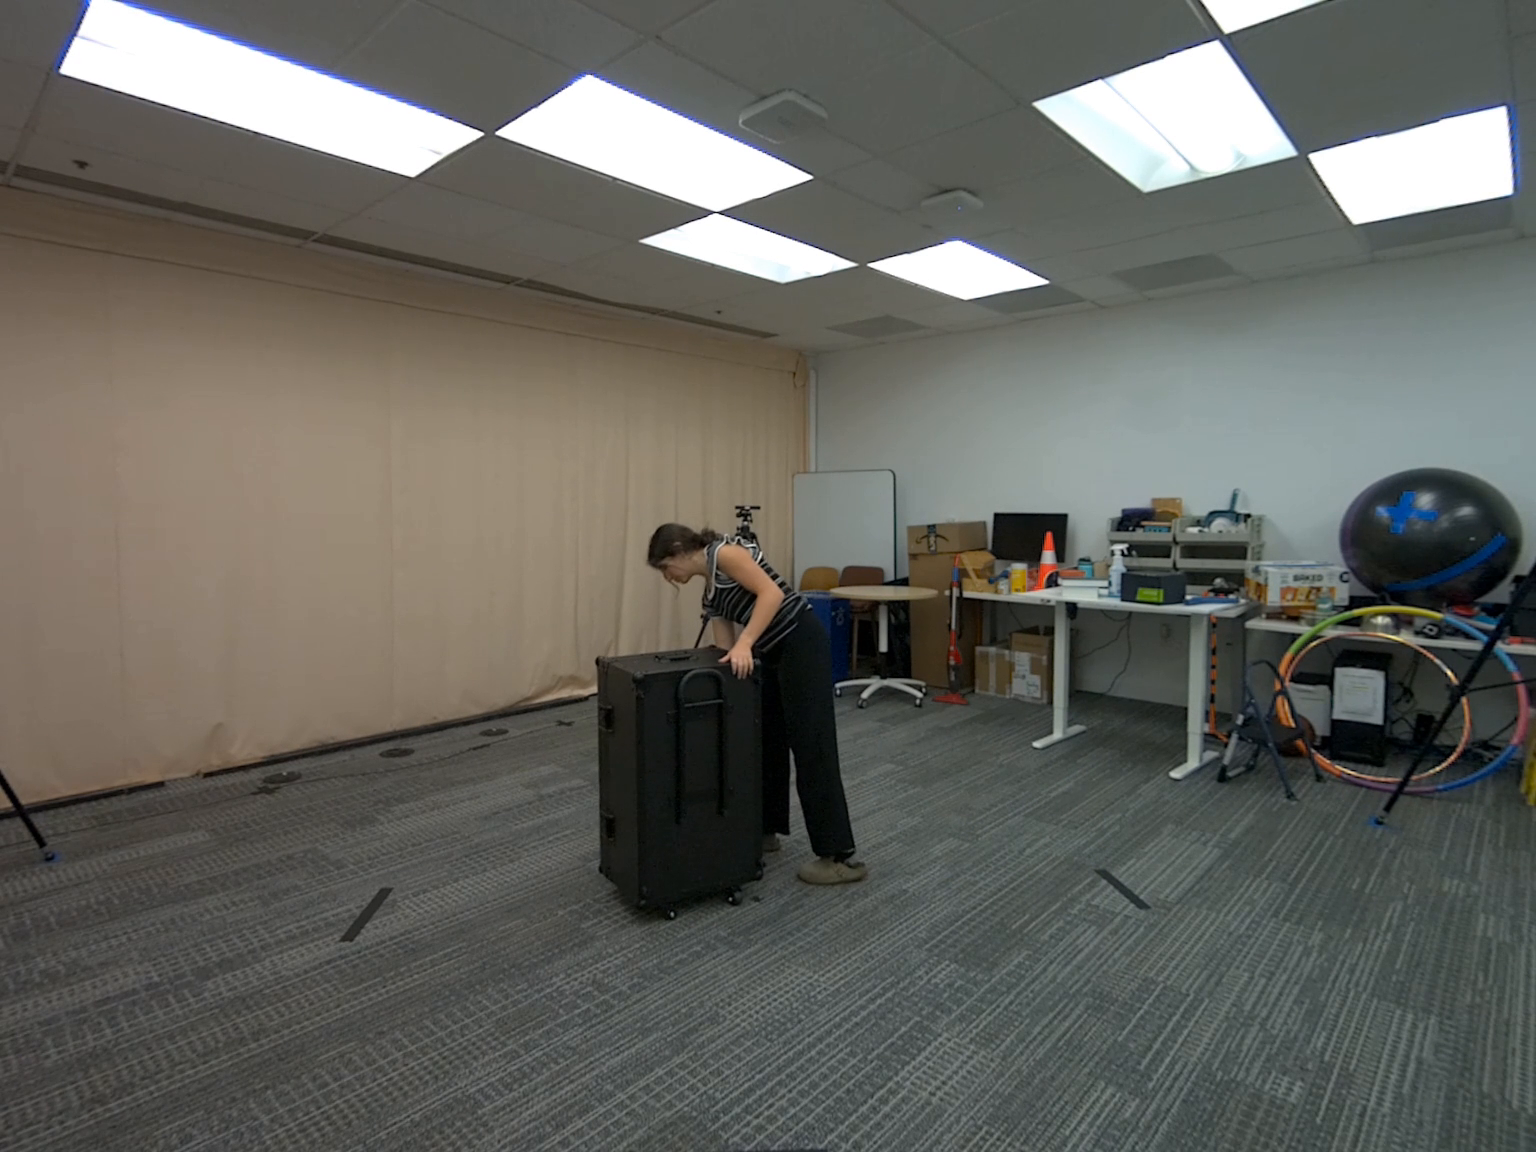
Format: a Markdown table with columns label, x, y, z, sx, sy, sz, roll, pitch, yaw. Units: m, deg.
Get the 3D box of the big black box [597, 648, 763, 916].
| label | x | y | z | sx | sy | sz | roll | pitch | yaw |
| --- | --- | --- | --- | --- | --- | --- | --- | --- | --- |
| big black box | -0.302 | 0.723 | 2.991 | 0.508 | 0.859 | 0.407 | -2 | 4 | -29 |
